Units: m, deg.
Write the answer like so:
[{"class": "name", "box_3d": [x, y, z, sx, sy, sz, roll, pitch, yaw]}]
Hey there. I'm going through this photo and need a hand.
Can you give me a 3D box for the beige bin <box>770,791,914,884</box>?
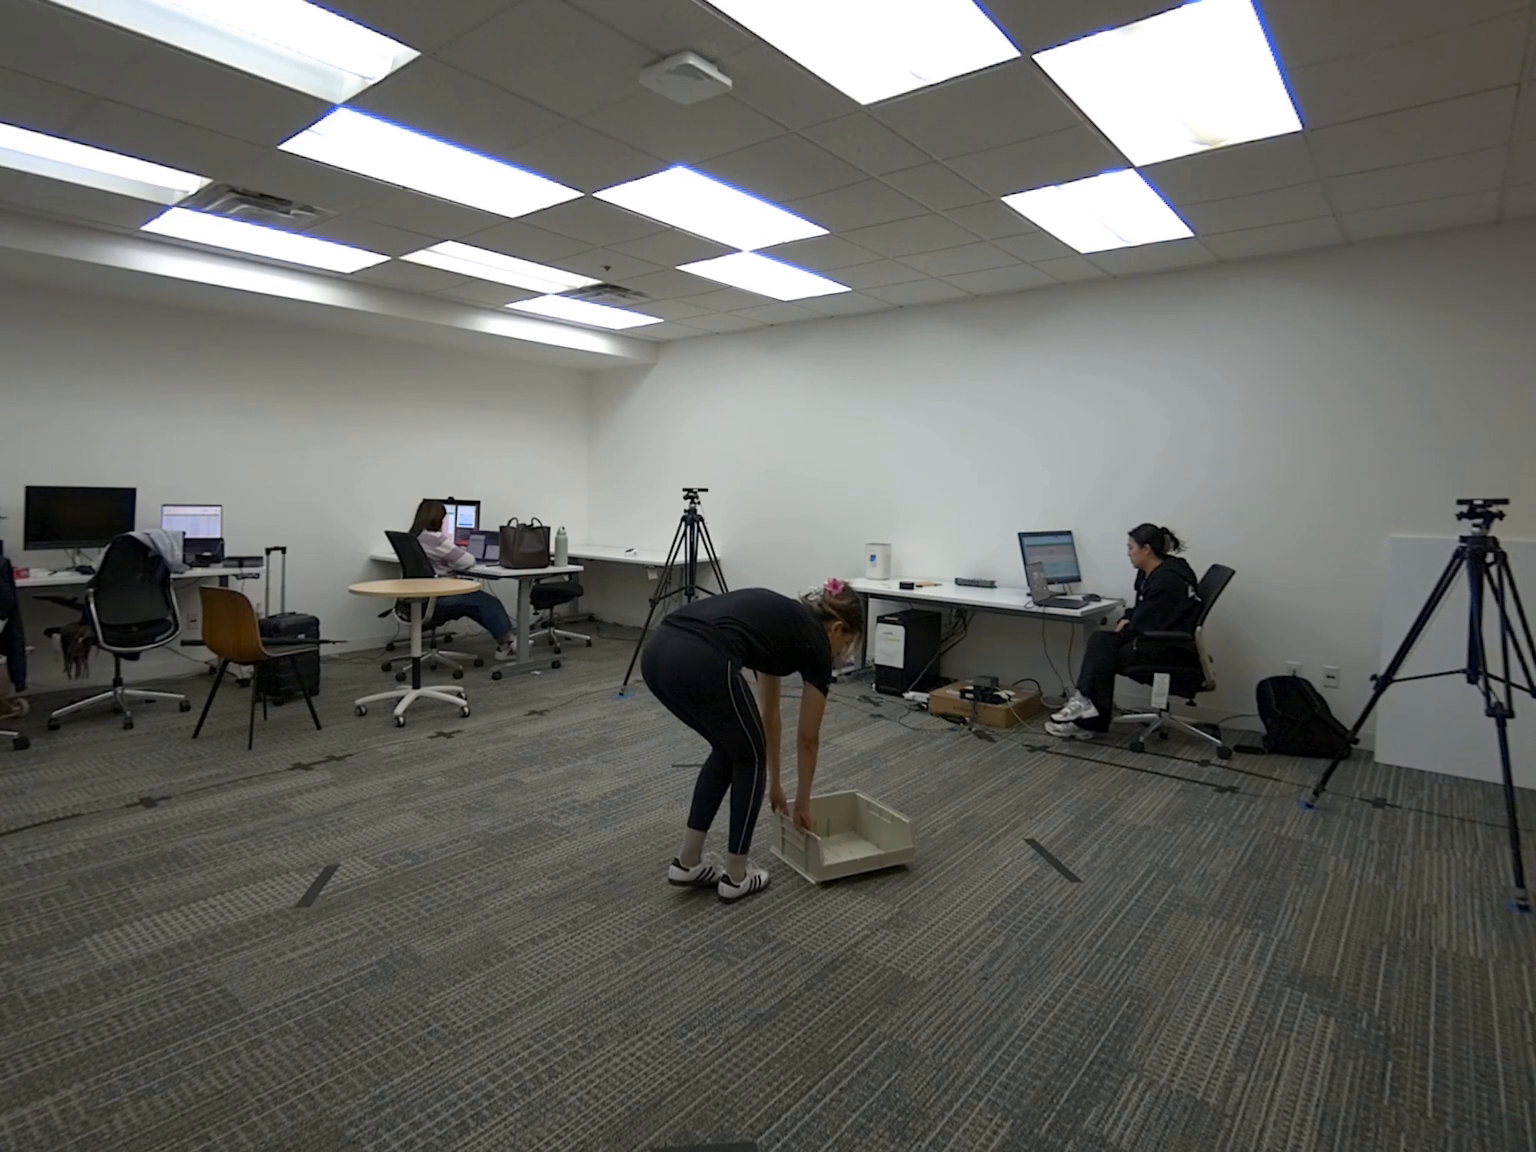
[{"class": "beige bin", "box_3d": [0.270, 0.977, 3.209, 0.411, 0.188, 0.388, -3, 5, -29]}]
